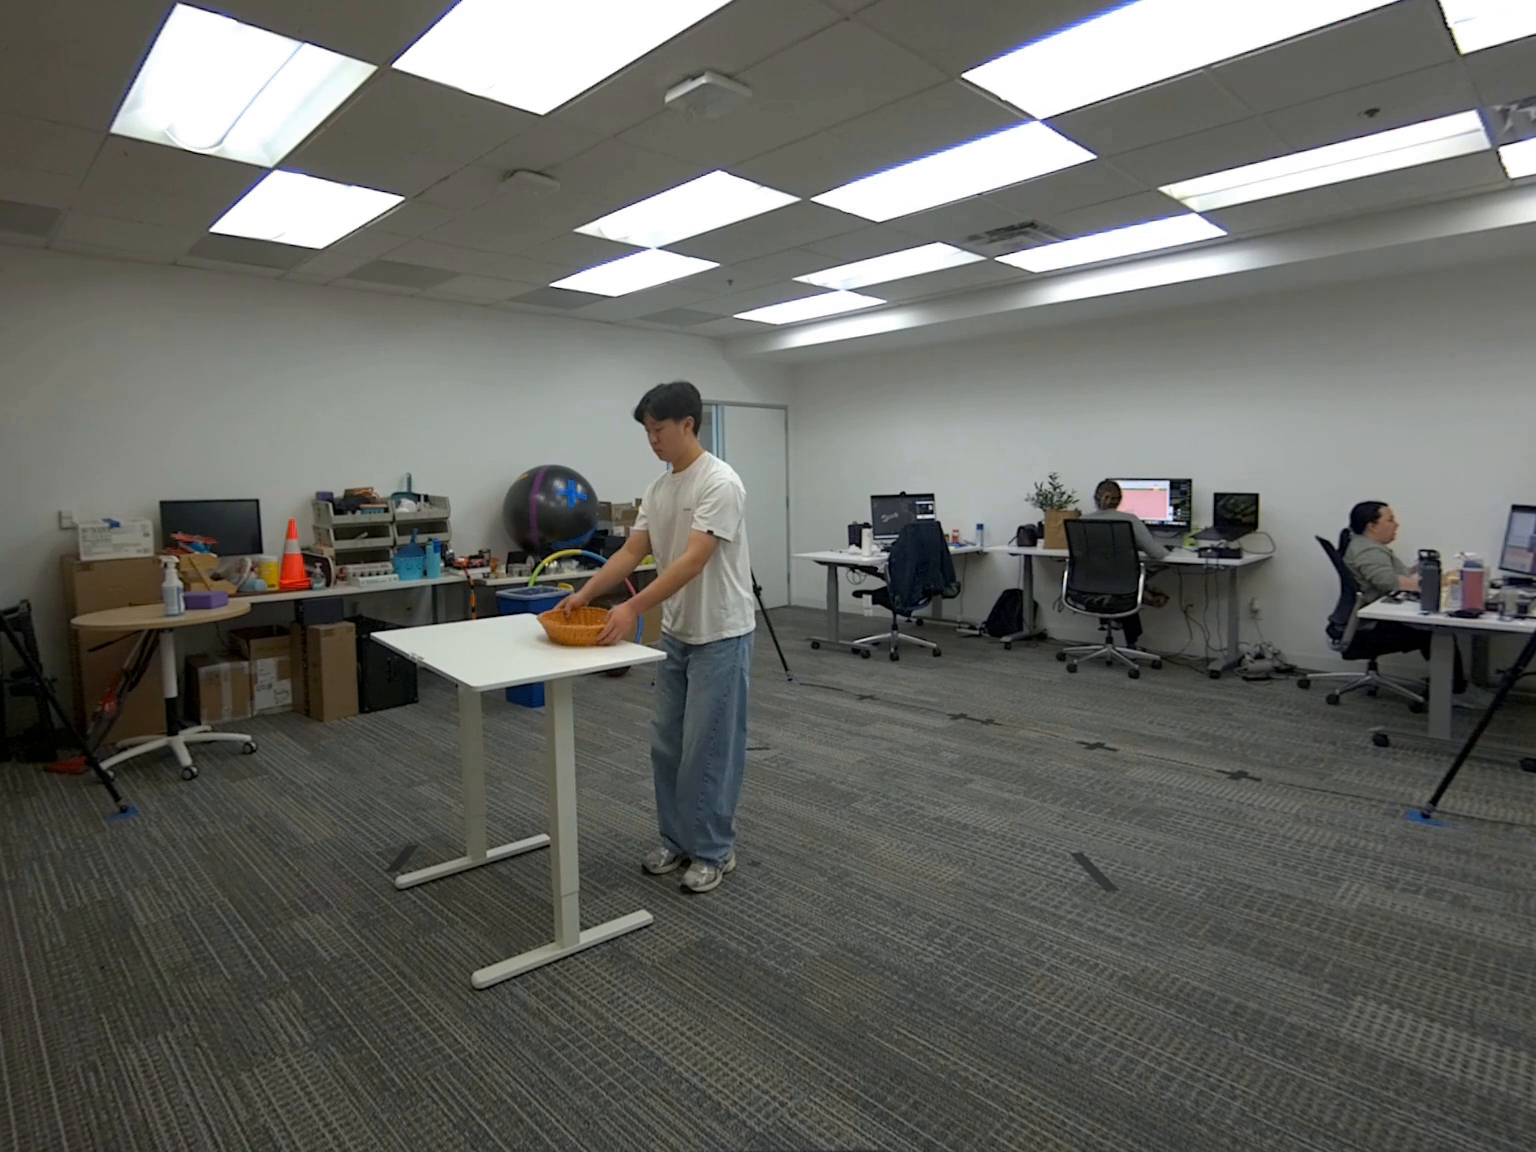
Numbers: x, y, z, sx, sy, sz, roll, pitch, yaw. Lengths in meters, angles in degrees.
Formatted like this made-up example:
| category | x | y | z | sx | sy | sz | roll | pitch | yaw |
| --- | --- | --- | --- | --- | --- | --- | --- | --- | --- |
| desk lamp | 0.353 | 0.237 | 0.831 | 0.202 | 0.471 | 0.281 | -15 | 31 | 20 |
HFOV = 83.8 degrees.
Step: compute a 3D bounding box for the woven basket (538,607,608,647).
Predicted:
| category | x | y | z | sx | sy | sz | roll | pitch | yaw |
| --- | --- | --- | --- | --- | --- | --- | --- | --- | --- |
| woven basket | -0.608 | 0.164 | 2.816 | 0.246 | 0.073 | 0.360 | -5 | 9 | -30 |
